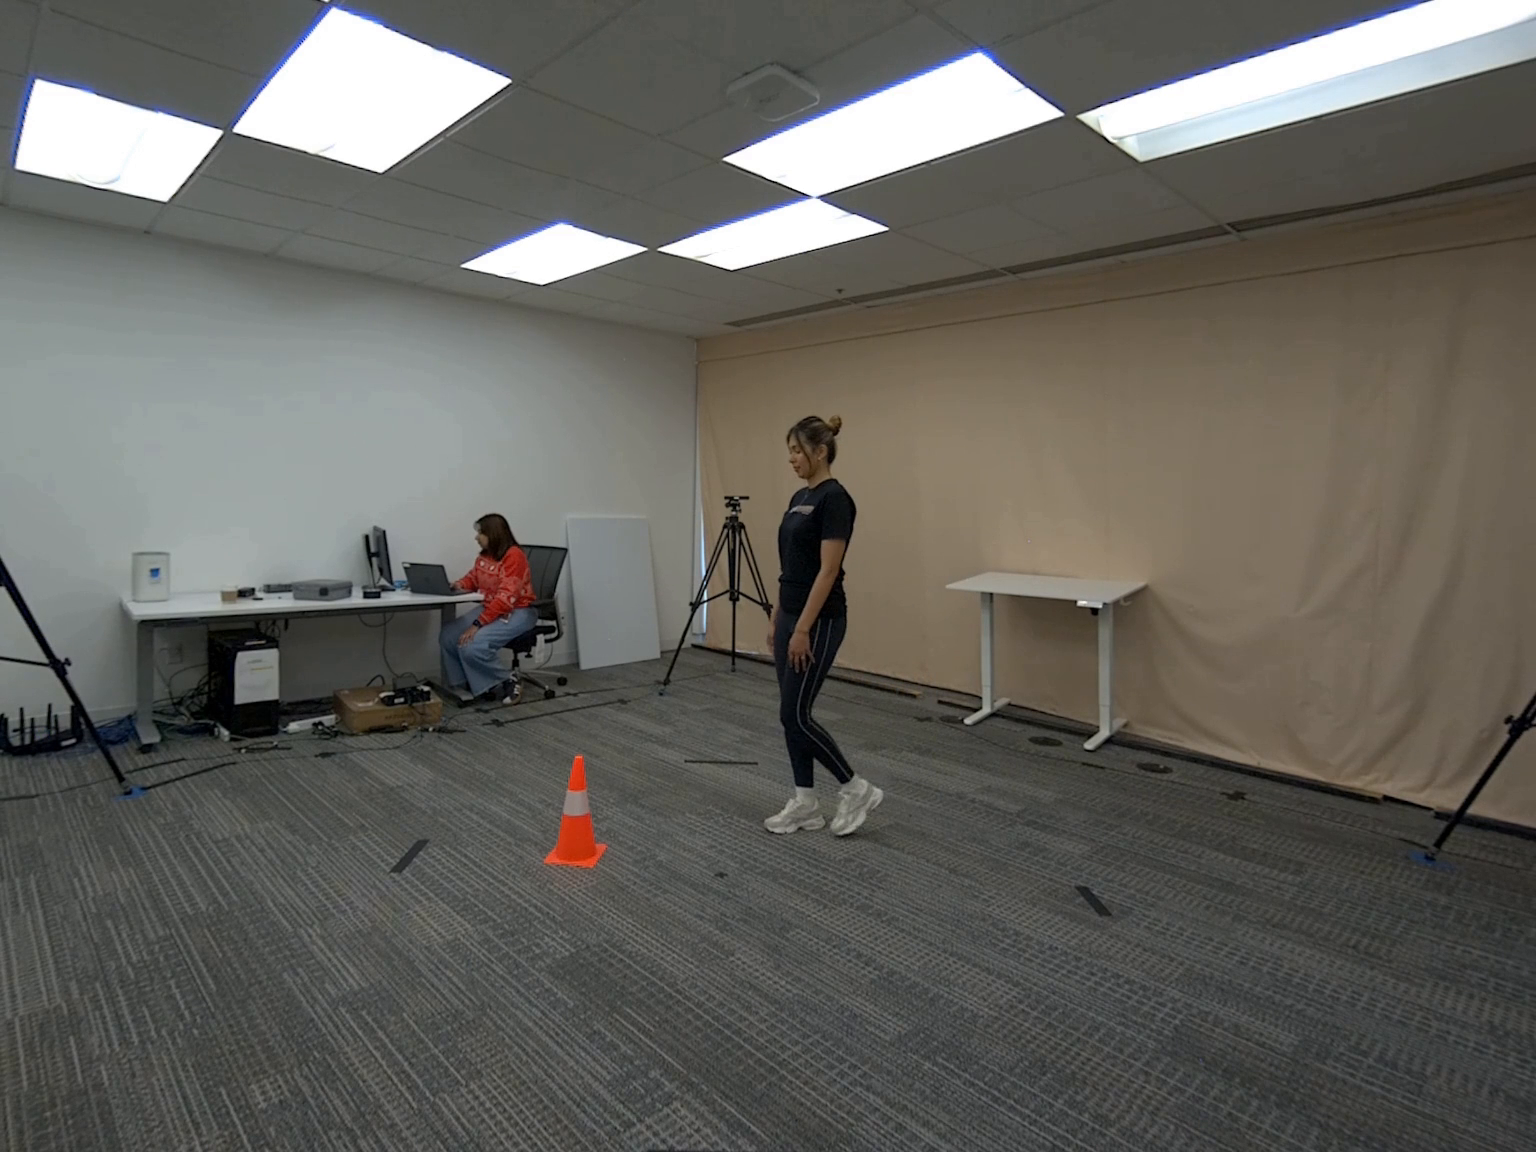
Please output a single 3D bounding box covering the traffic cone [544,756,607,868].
[{"bbox_3d":[-0.746,0.892,3.251,0.205,0.383,0.204,4,3,8],"label":"traffic cone"}]
